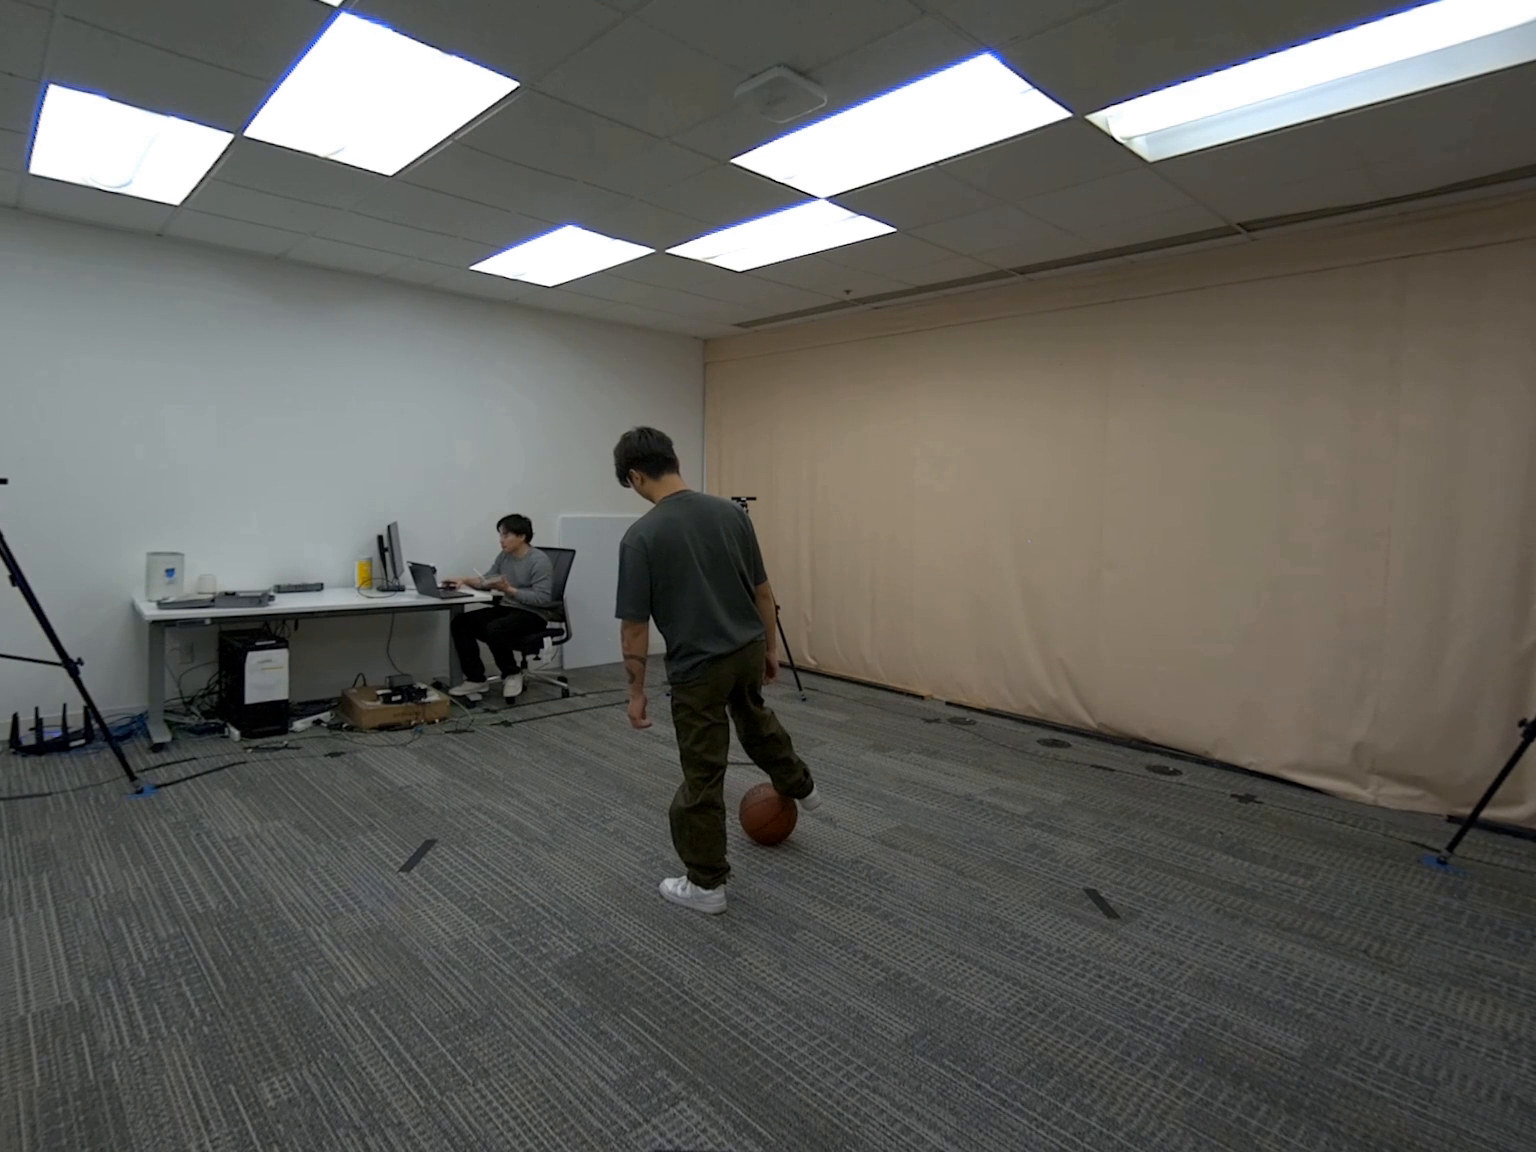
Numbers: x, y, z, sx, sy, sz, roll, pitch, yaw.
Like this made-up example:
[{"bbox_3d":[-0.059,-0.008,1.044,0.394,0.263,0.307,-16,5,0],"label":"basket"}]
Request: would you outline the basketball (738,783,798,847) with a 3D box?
[{"bbox_3d":[-0.009,0.962,3.419,0.236,0.235,0.237,1,4,-1],"label":"basketball"}]
